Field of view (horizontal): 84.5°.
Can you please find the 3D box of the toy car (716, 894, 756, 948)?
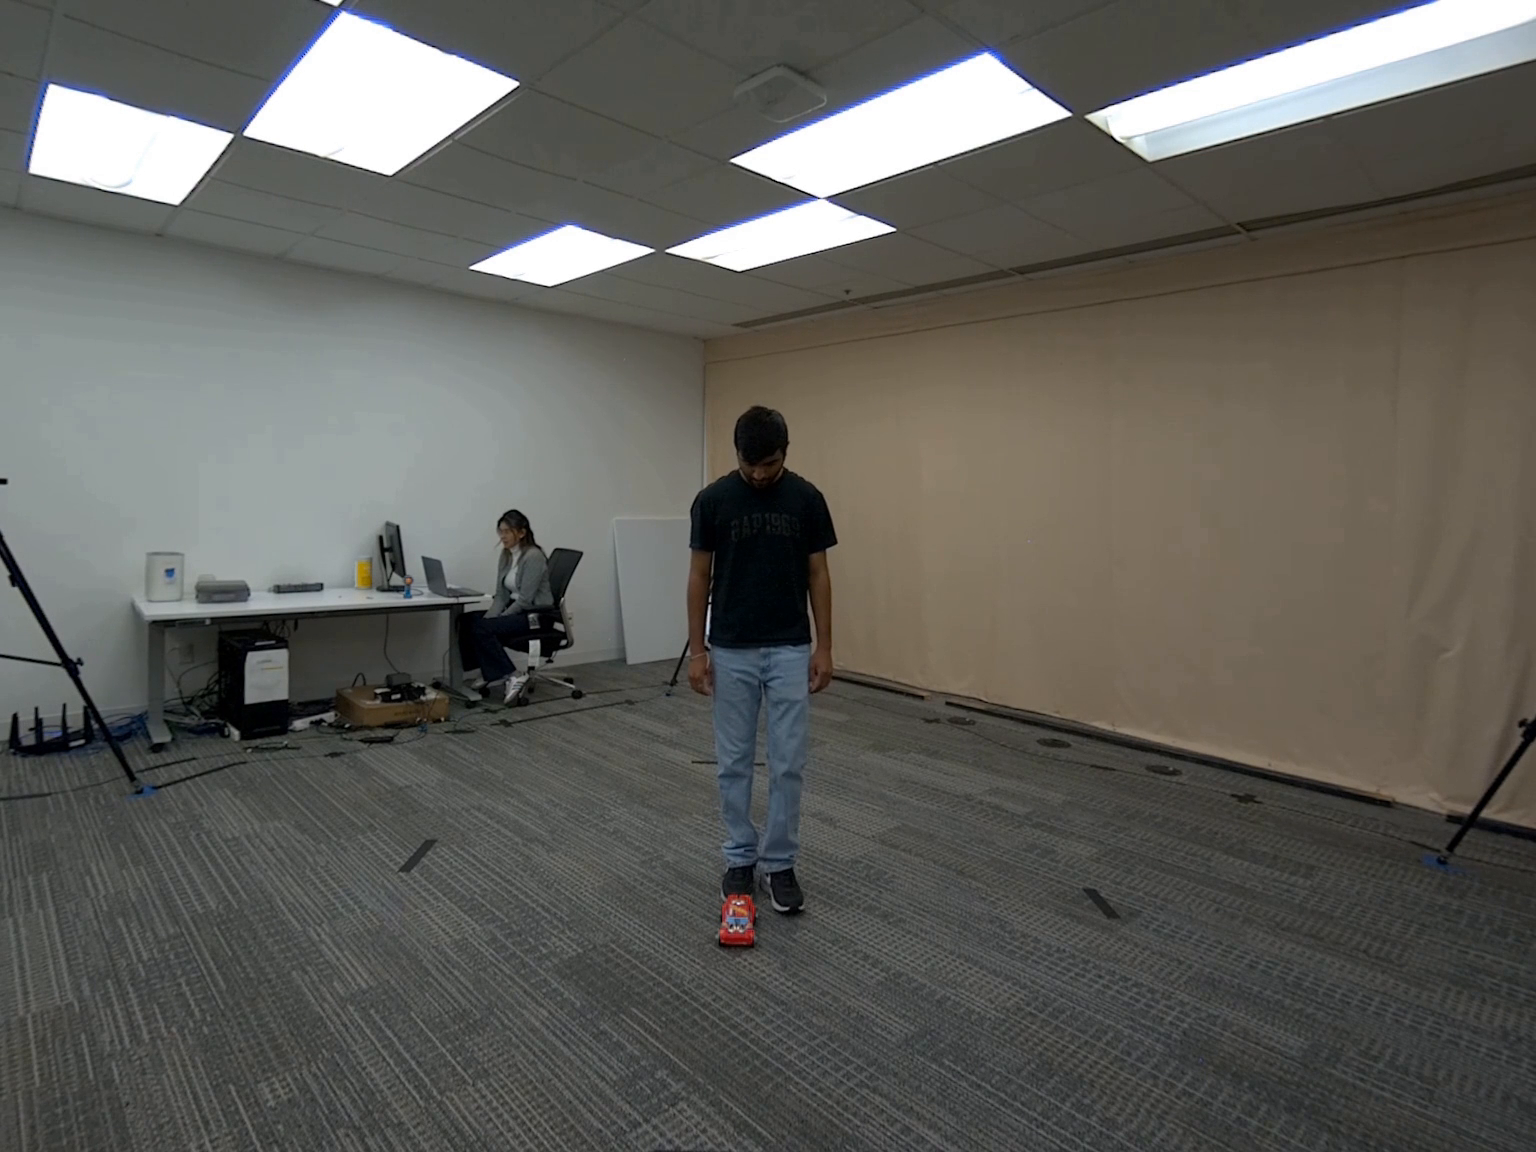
[{"bbox_3d":[-0.107,1.110,2.706,0.130,0.082,0.257,0,16,0],"label":"toy car"}]
